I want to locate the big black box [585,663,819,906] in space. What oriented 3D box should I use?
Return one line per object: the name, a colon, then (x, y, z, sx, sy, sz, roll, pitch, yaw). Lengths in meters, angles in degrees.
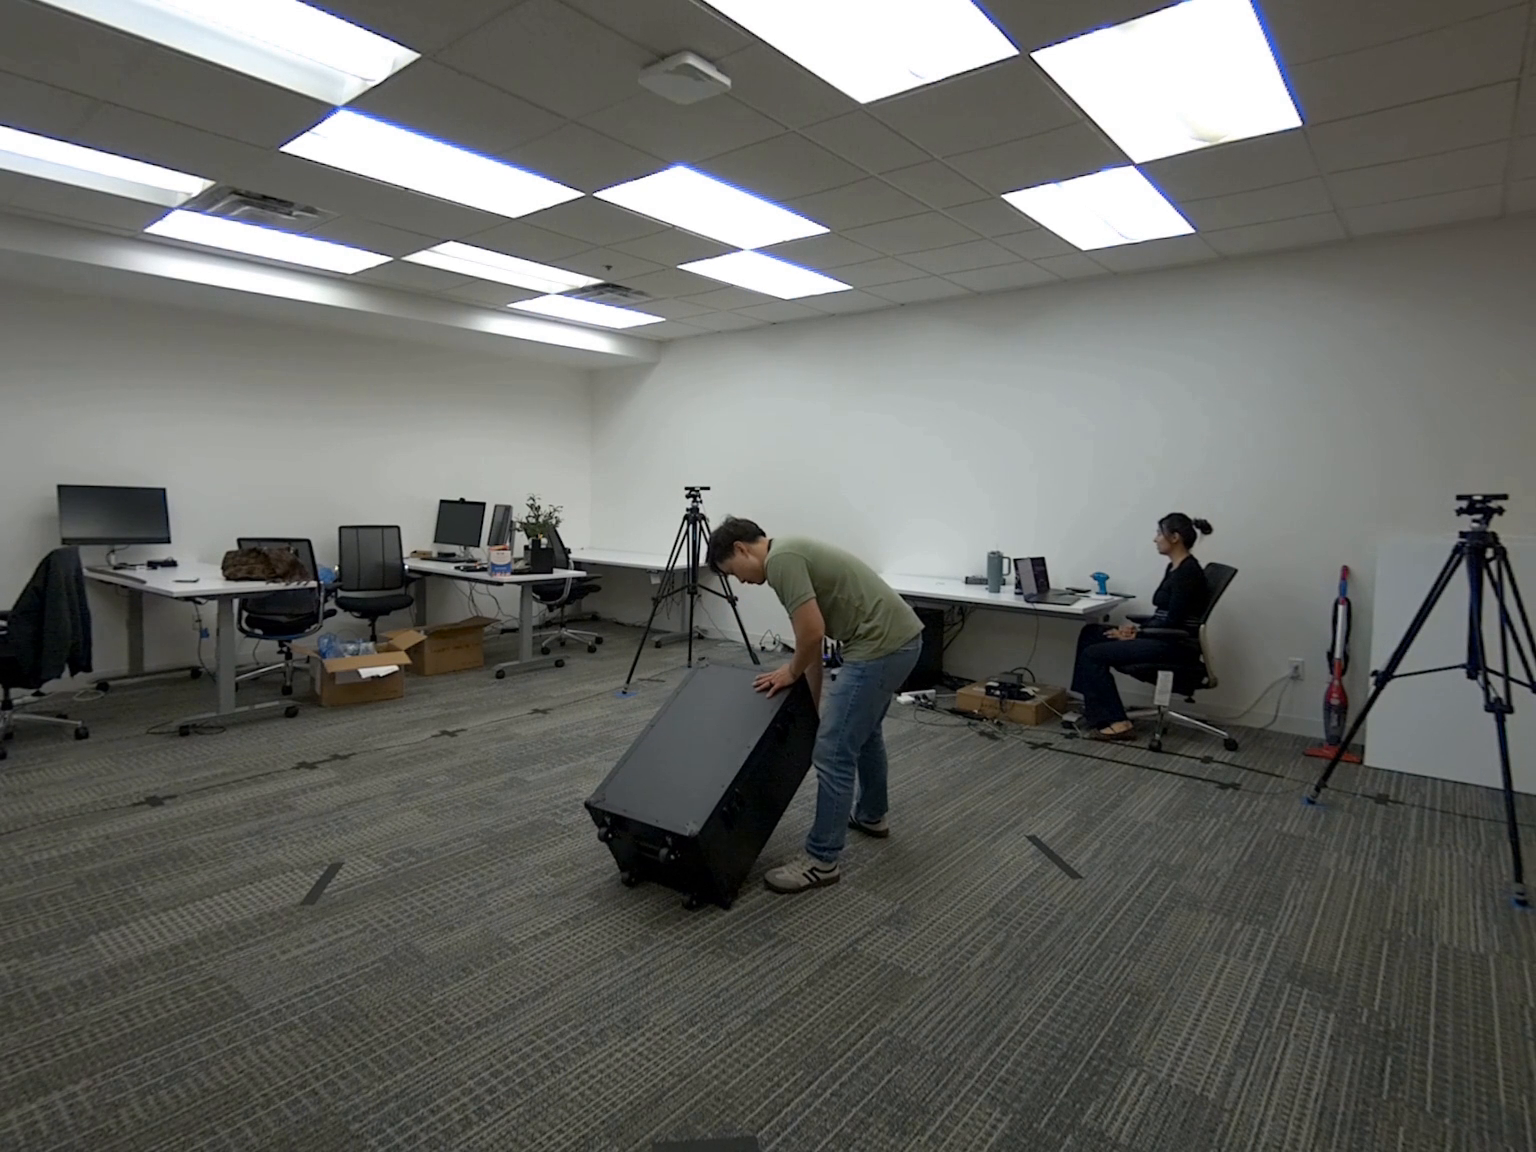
big black box: (-0.235, 0.739, 3.099, 0.537, 0.384, 0.862, 3, 36, 33)
